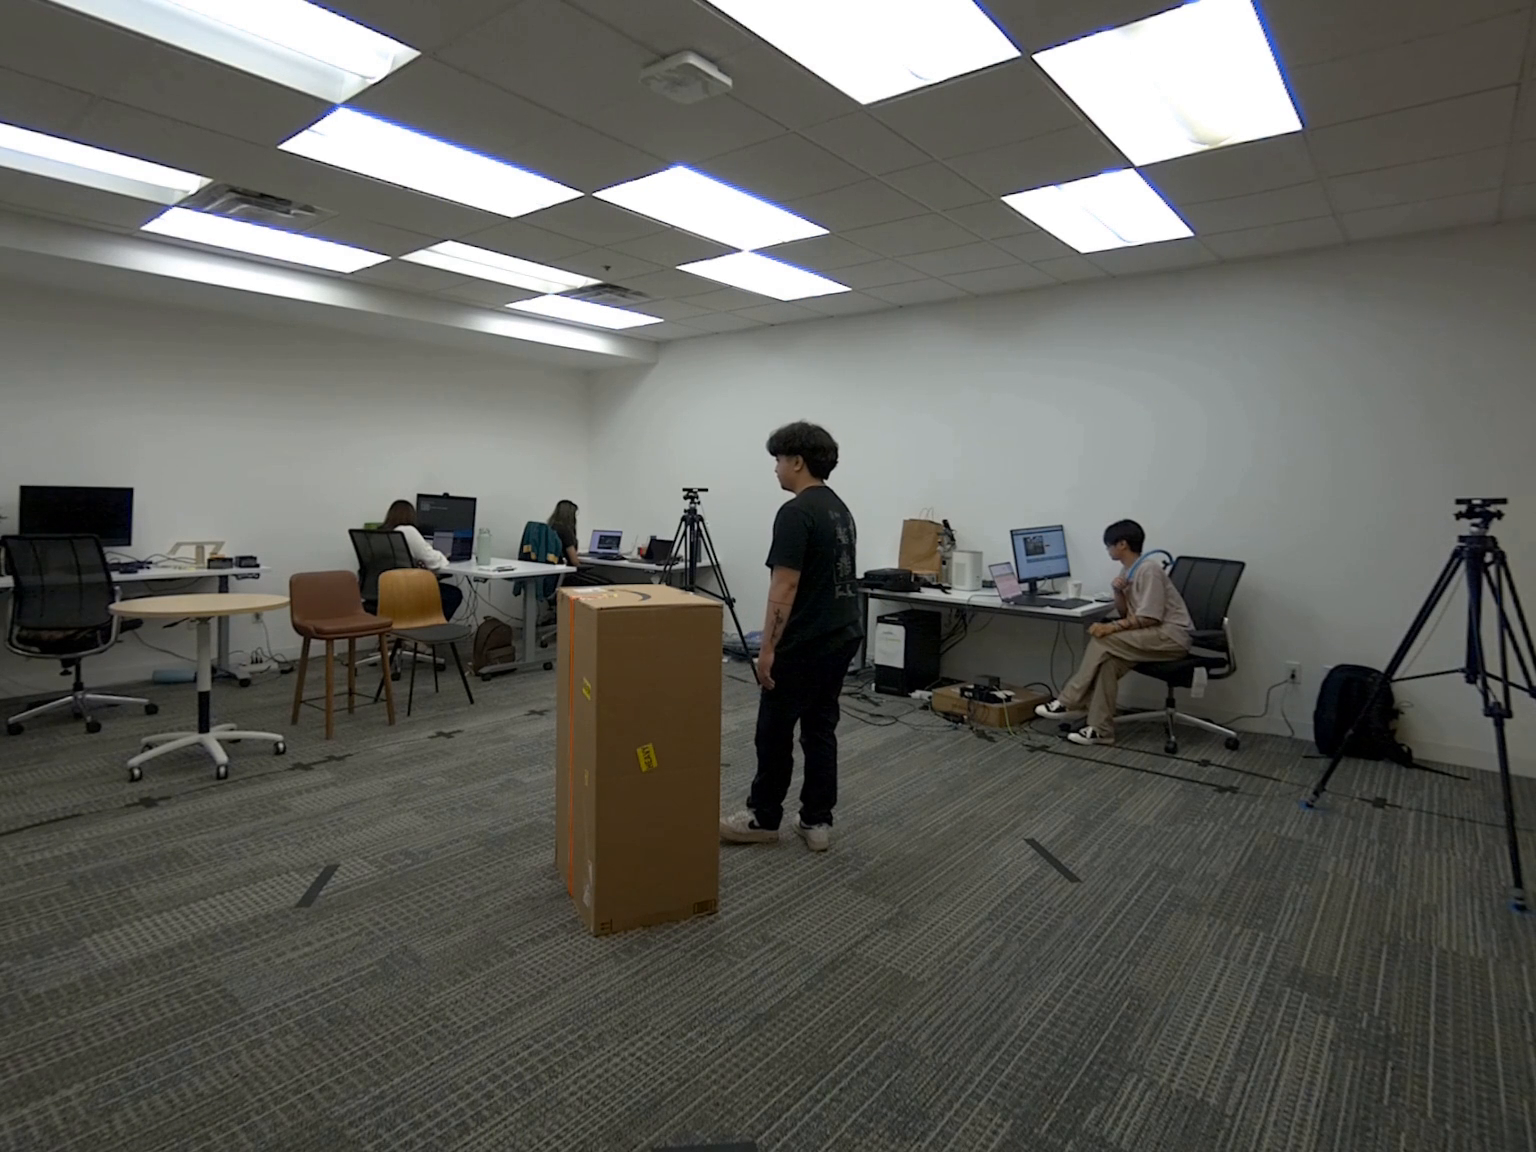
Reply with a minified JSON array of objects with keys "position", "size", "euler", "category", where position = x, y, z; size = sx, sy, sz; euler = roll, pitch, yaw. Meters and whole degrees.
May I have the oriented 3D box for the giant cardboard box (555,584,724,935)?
[{"position":[-0.477,0.569,2.936],"size":[0.436,1.024,0.599],"euler":[-1,4,-25],"category":"giant cardboard box"}]
